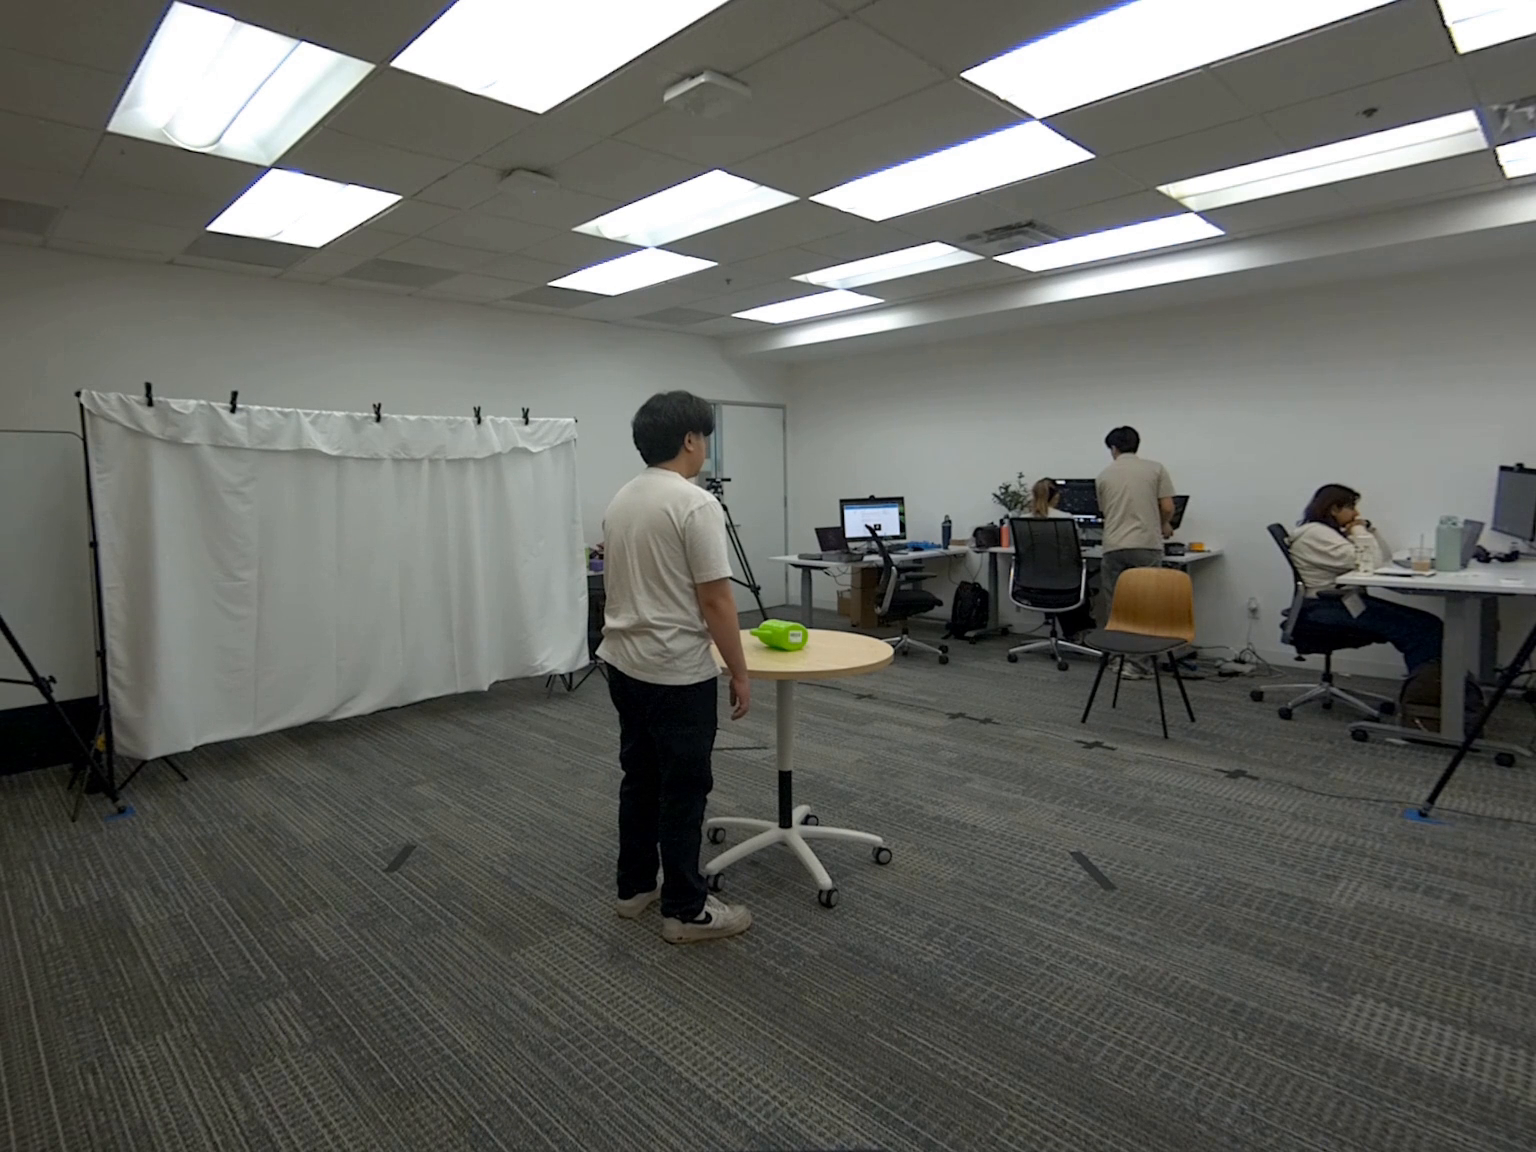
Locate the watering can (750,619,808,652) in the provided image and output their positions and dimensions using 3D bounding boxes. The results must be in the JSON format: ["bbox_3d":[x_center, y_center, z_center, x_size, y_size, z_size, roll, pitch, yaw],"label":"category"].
[{"bbox_3d":[0.071,0.198,3.068,0.272,0.097,0.182,-12,12,-38],"label":"watering can"}]
